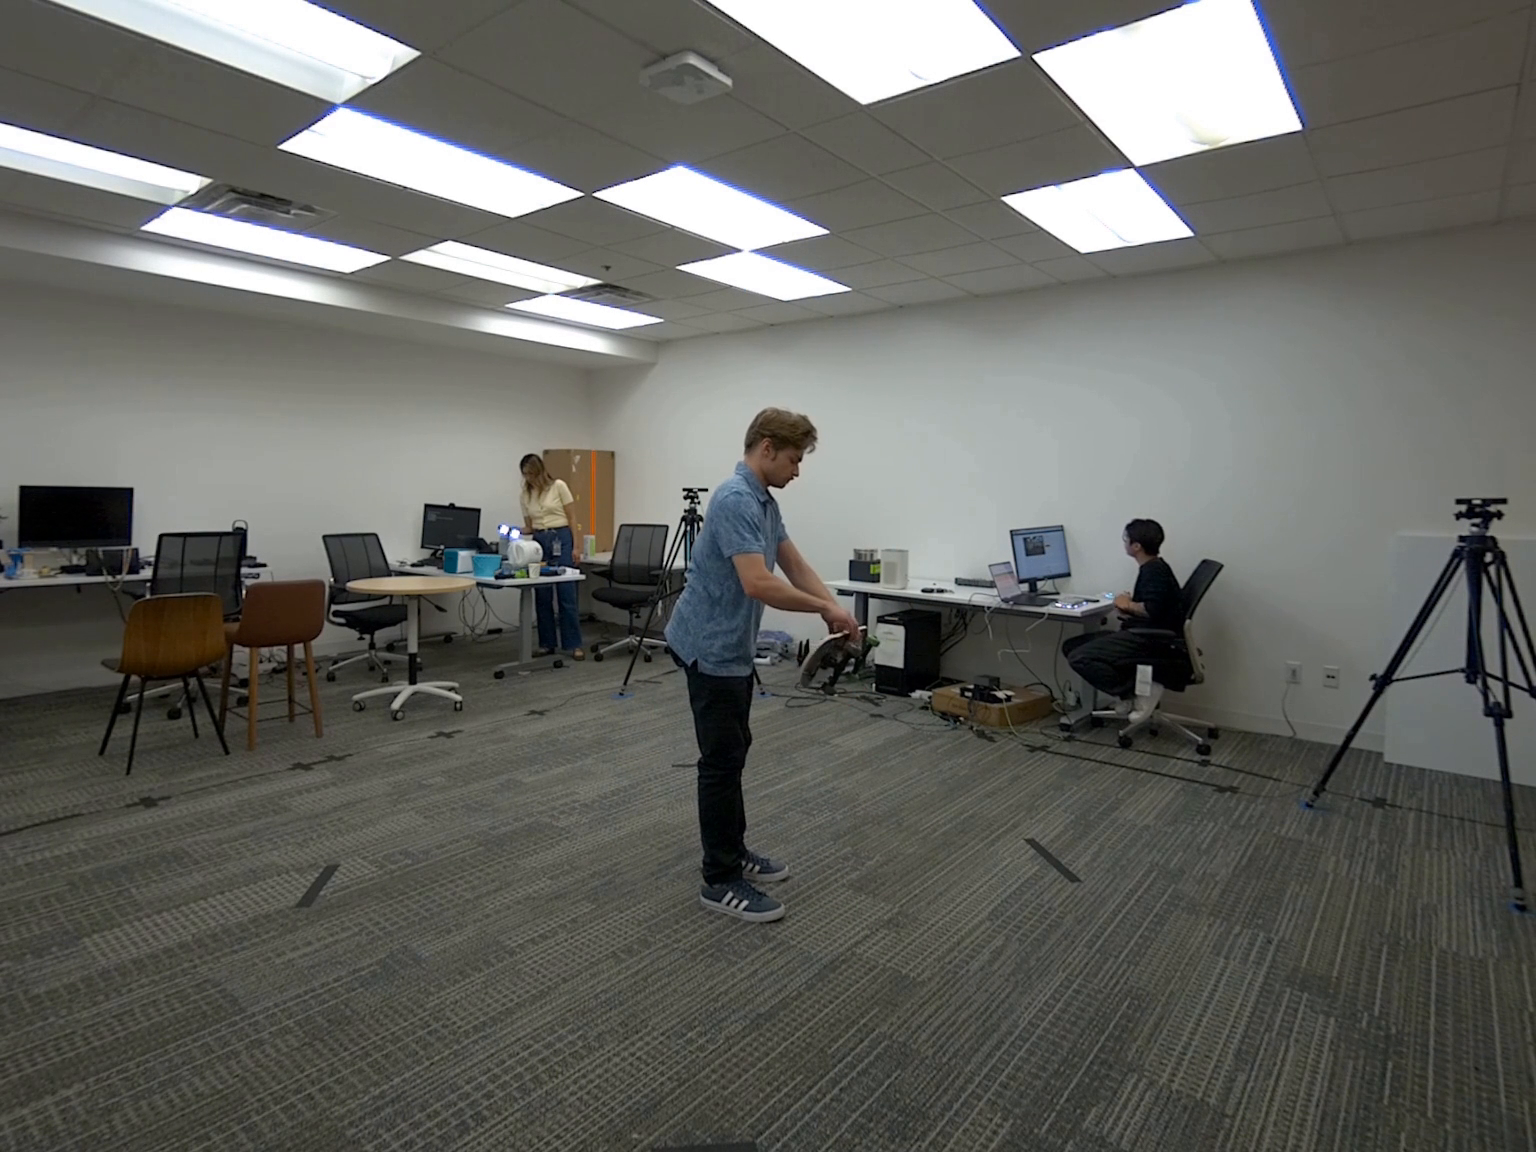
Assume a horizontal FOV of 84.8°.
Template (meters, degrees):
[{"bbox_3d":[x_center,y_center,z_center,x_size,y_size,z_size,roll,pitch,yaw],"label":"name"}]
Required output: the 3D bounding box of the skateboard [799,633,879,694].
[{"bbox_3d":[0.250,0.285,2.929,0.113,0.193,0.770,29,7,14],"label":"skateboard"}]
